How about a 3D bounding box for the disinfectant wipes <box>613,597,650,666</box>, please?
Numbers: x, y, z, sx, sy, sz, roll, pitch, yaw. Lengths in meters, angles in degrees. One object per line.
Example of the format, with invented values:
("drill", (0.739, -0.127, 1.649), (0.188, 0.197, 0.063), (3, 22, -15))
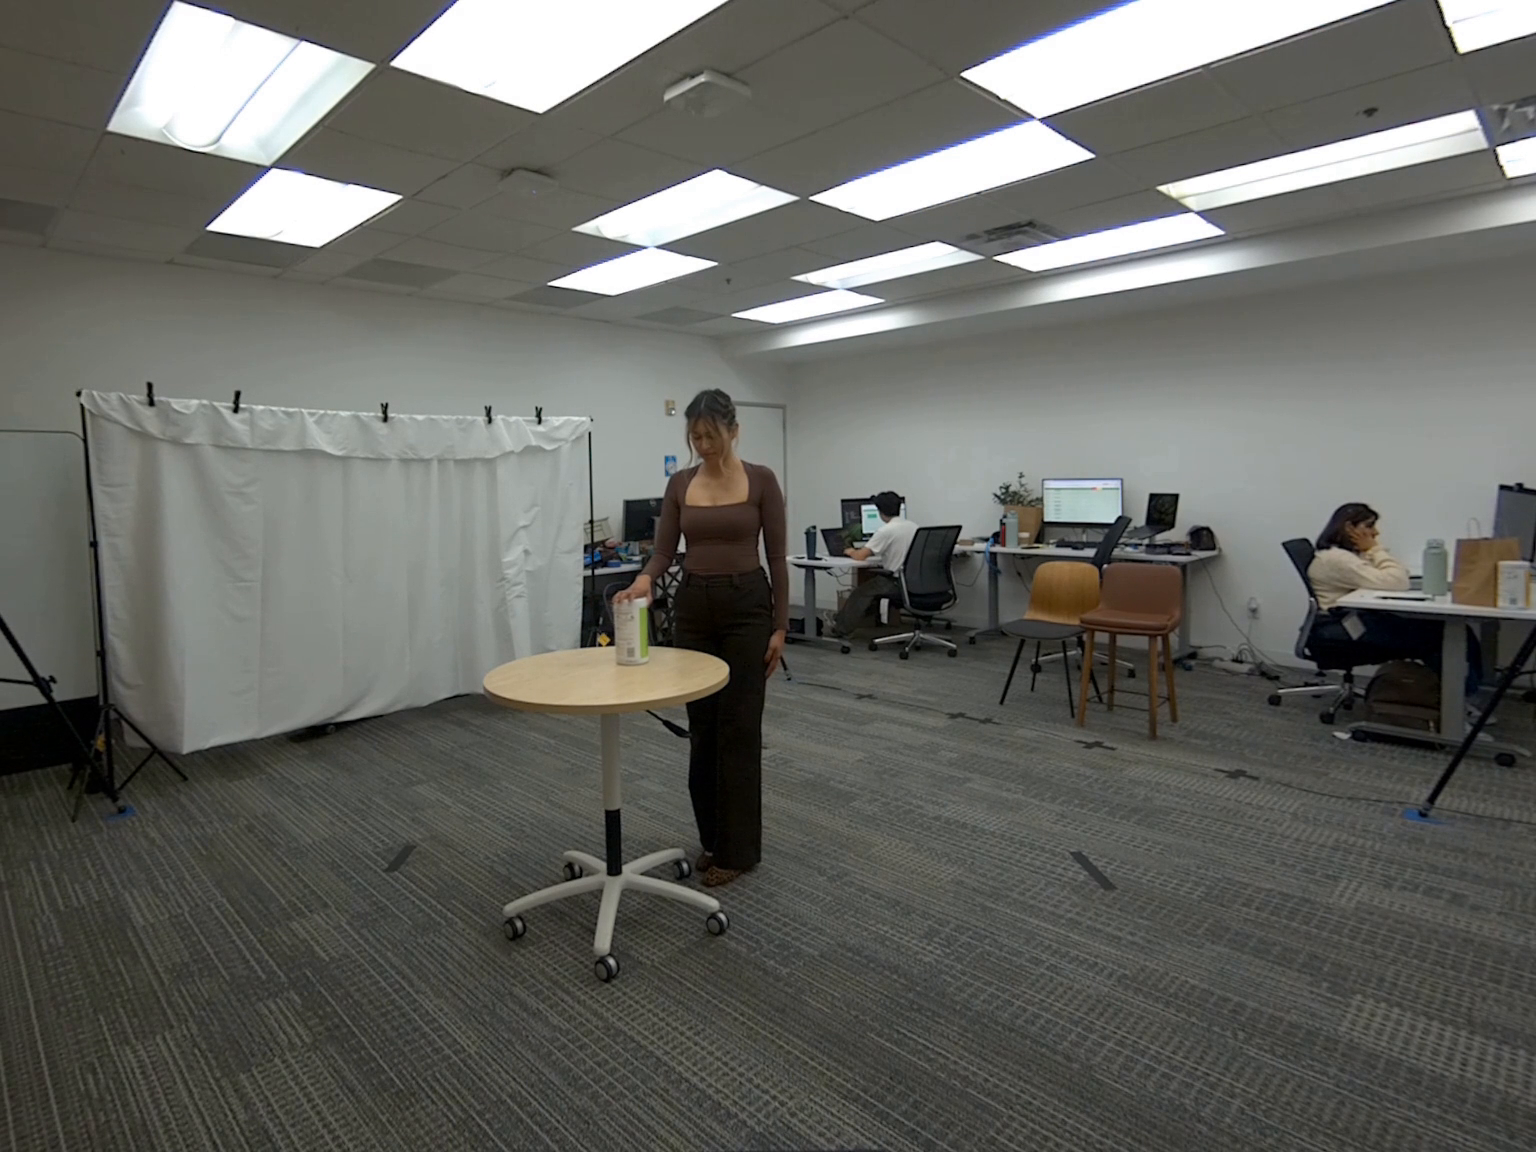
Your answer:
("disinfectant wipes", (-0.444, 0.179, 2.813), (0.118, 0.217, 0.118), (1, 3, -2))
